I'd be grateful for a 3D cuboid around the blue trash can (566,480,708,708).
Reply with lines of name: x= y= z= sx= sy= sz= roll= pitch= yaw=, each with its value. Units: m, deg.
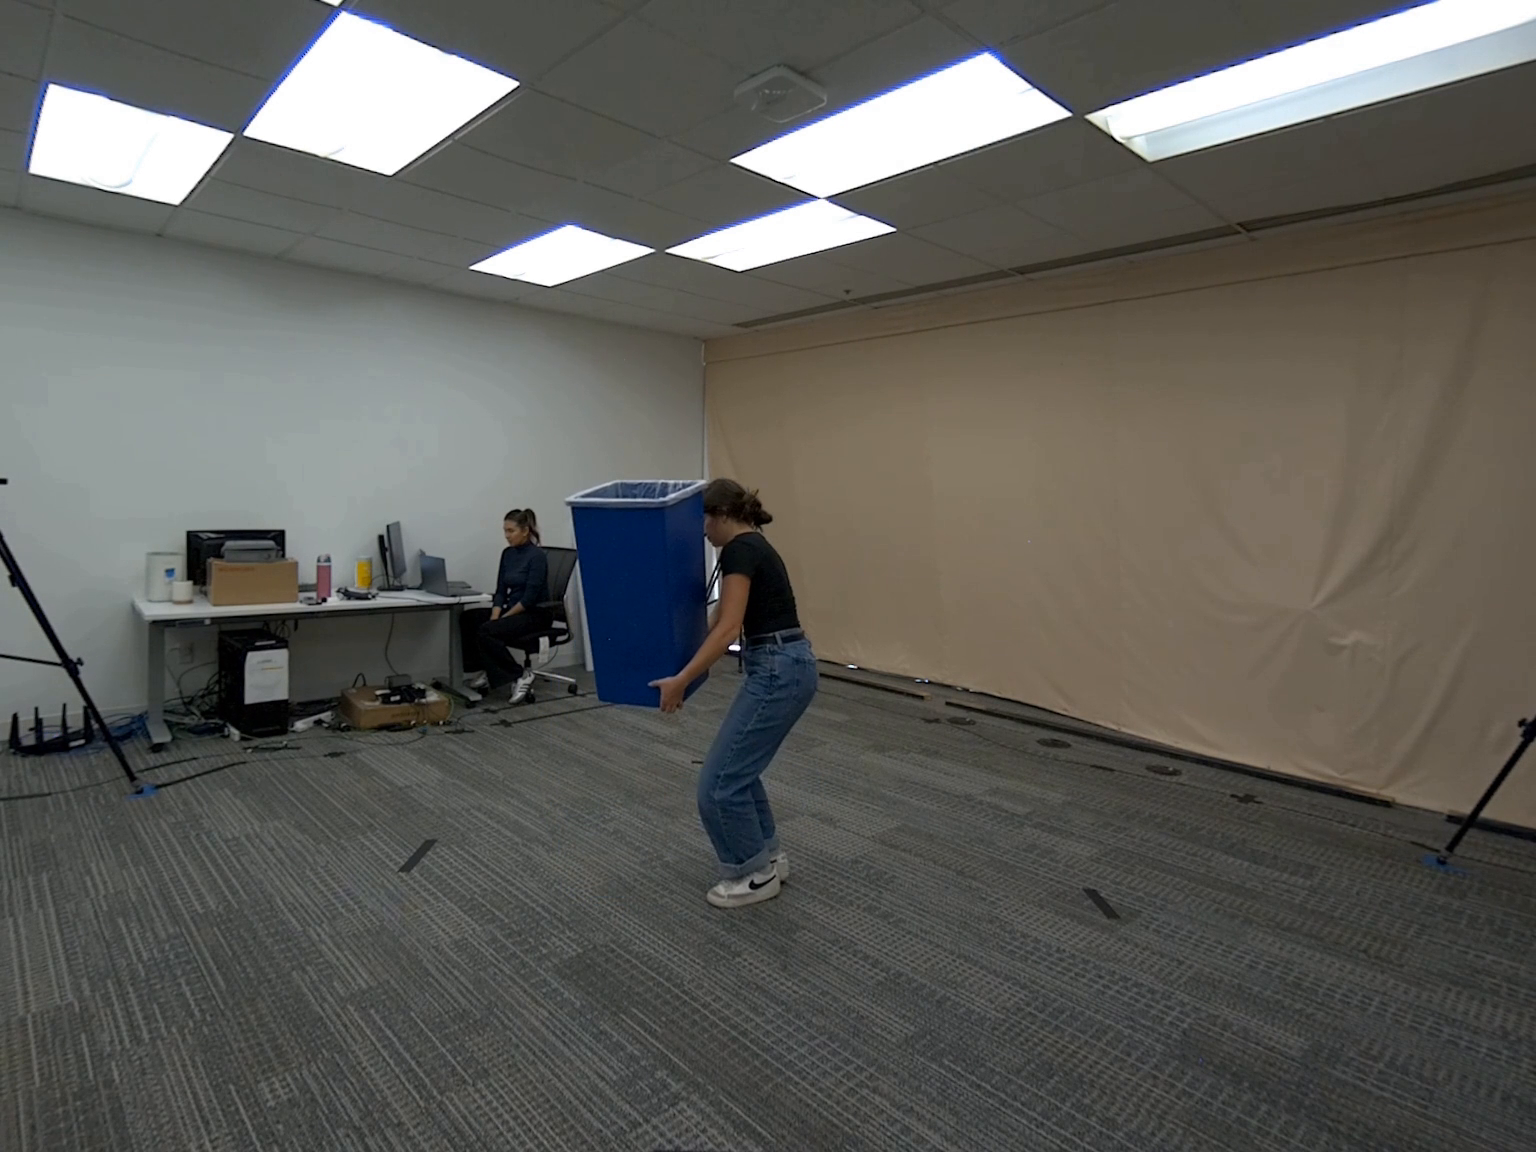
blue trash can: x=-0.420 y=0.057 z=2.873 sx=0.384 sy=0.706 sz=0.372 roll=2 pitch=13 yaw=19
